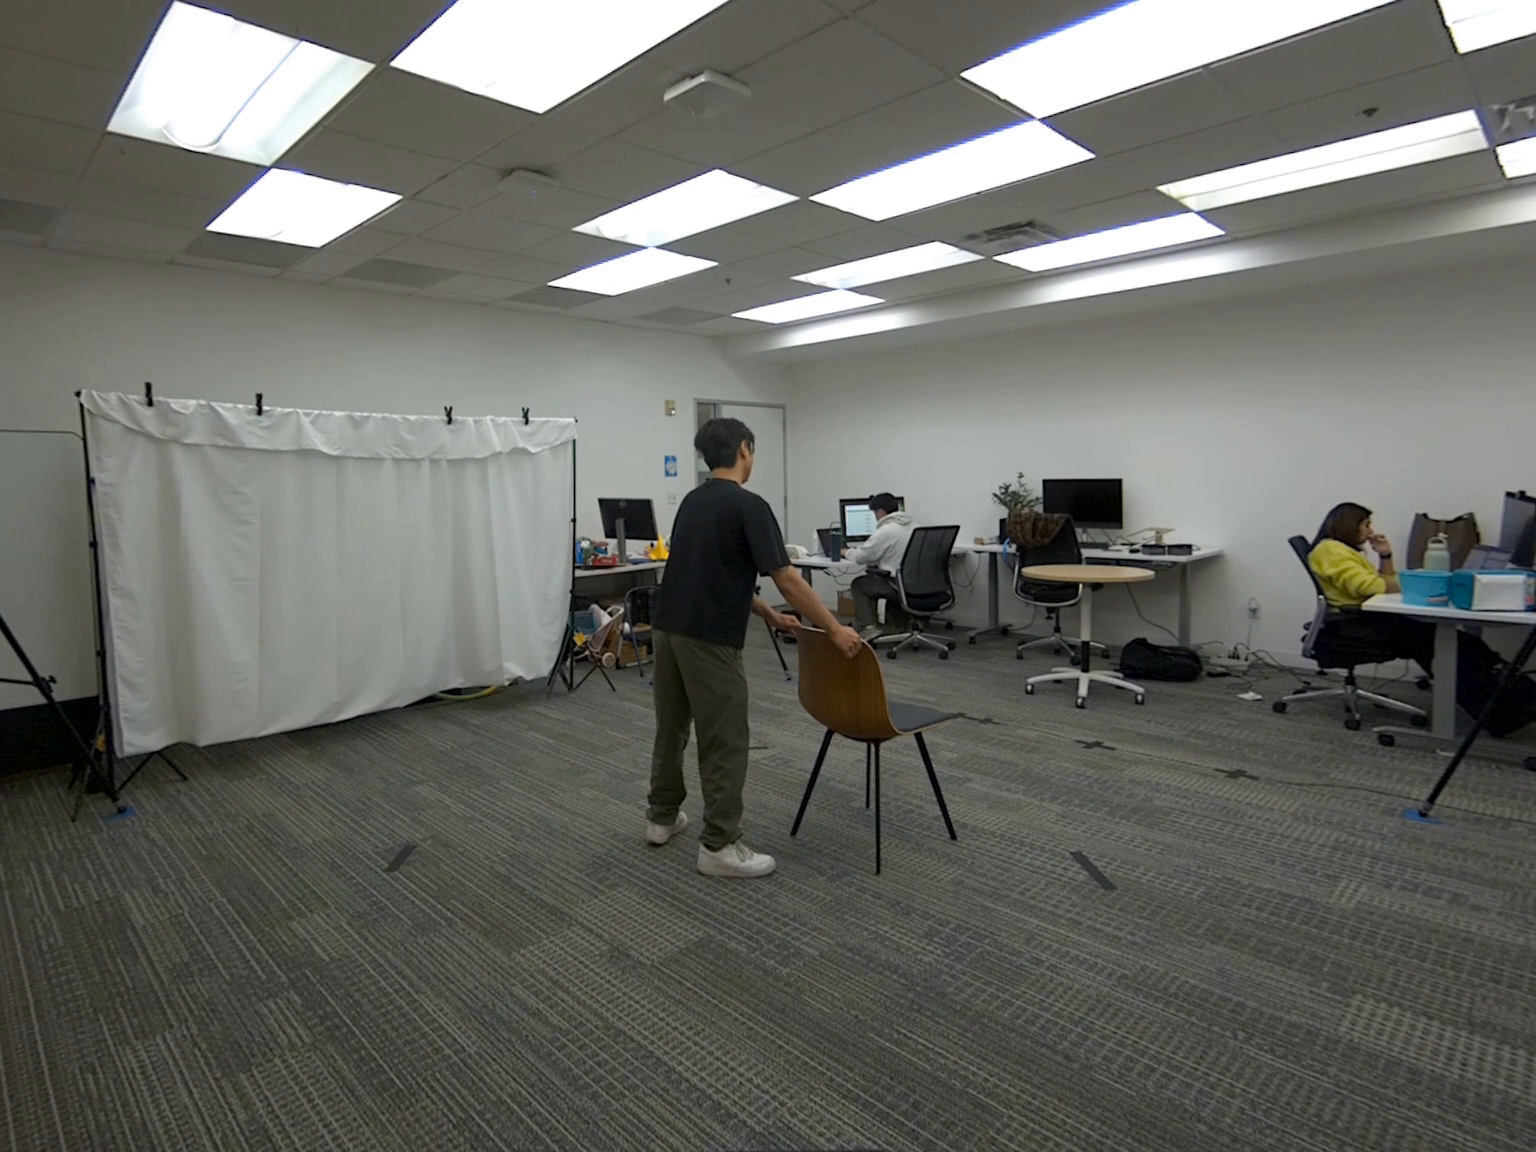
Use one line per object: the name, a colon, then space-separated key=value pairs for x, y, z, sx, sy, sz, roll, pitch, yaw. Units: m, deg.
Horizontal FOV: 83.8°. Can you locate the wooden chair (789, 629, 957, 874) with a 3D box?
wooden chair: x=0.404 y=0.582 z=3.282 sx=0.511 sy=0.872 sz=0.492 roll=-10 pitch=8 yaw=-40
